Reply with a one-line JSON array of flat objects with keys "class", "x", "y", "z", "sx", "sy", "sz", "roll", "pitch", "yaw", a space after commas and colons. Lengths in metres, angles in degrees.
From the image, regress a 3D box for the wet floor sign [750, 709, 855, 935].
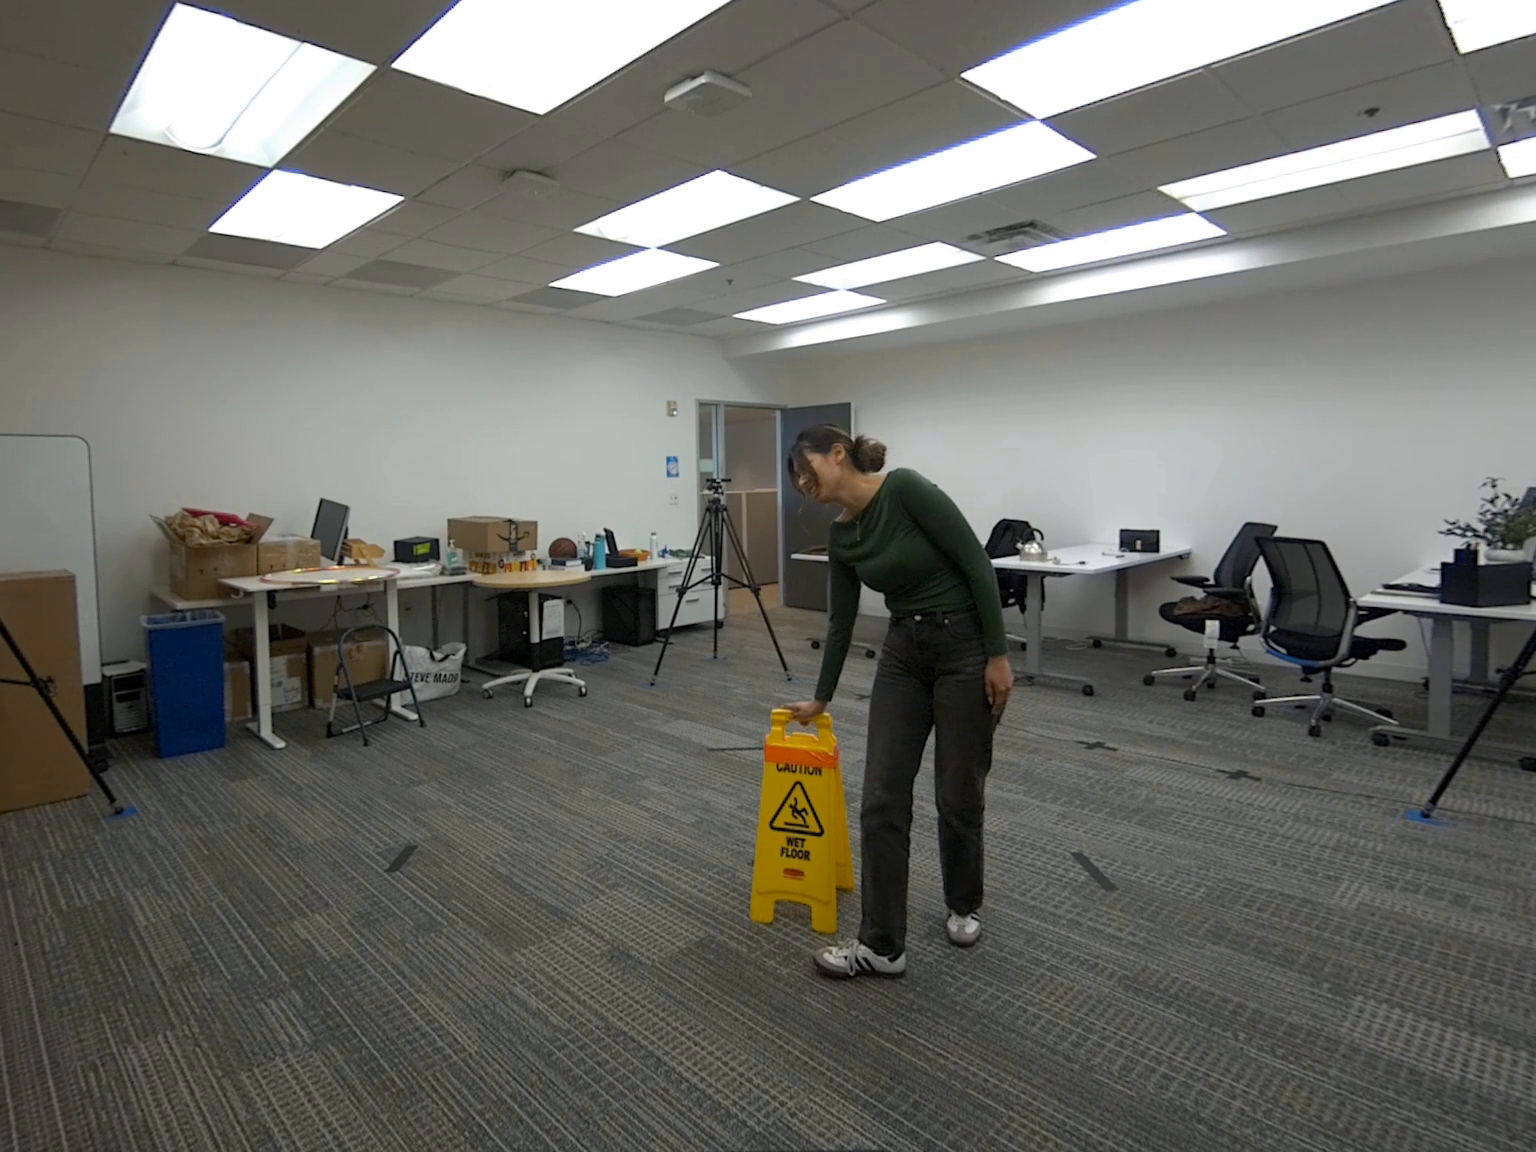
[{"class": "wet floor sign", "x": 0.116, "y": 0.756, "z": 2.785, "sx": 0.287, "sy": 0.644, "sz": 0.285, "roll": 2, "pitch": 4, "yaw": 18}]
